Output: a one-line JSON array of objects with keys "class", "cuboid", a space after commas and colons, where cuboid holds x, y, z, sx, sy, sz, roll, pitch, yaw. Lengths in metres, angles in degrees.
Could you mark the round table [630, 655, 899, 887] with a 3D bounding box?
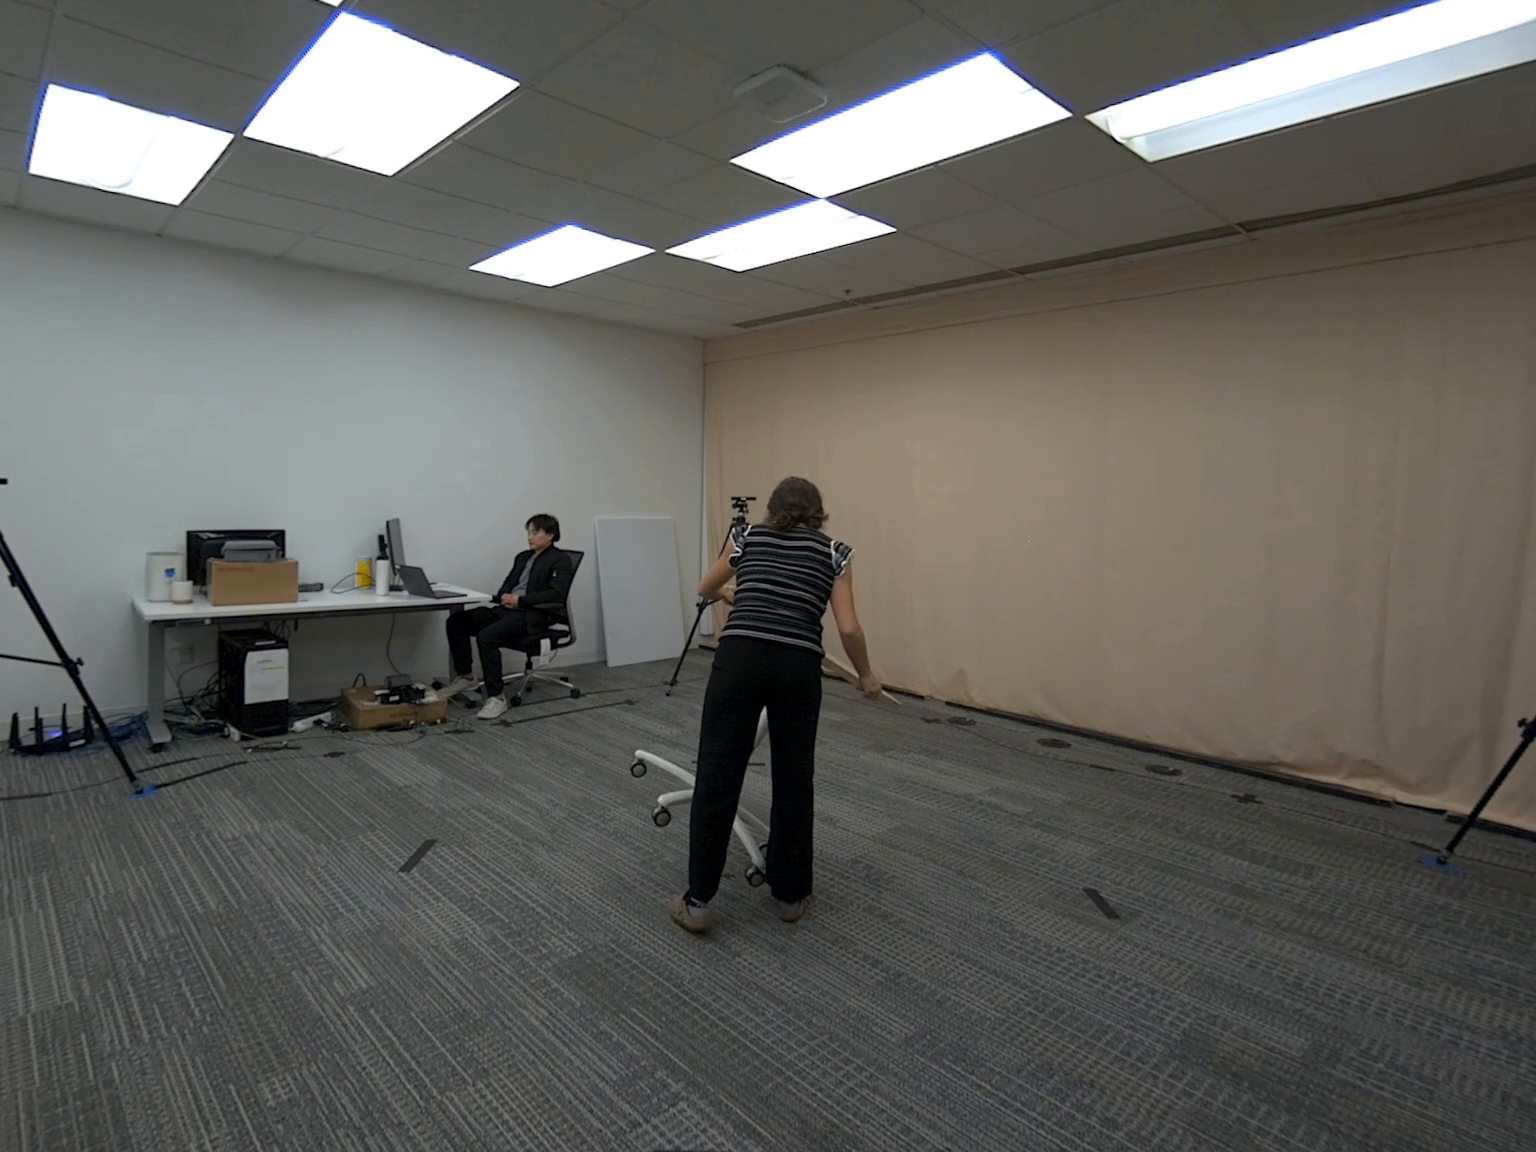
[{"class": "round table", "cuboid": [-0.058, 0.600, 3.178, 0.764, 0.794, 0.763, 32, -2, -1]}]
